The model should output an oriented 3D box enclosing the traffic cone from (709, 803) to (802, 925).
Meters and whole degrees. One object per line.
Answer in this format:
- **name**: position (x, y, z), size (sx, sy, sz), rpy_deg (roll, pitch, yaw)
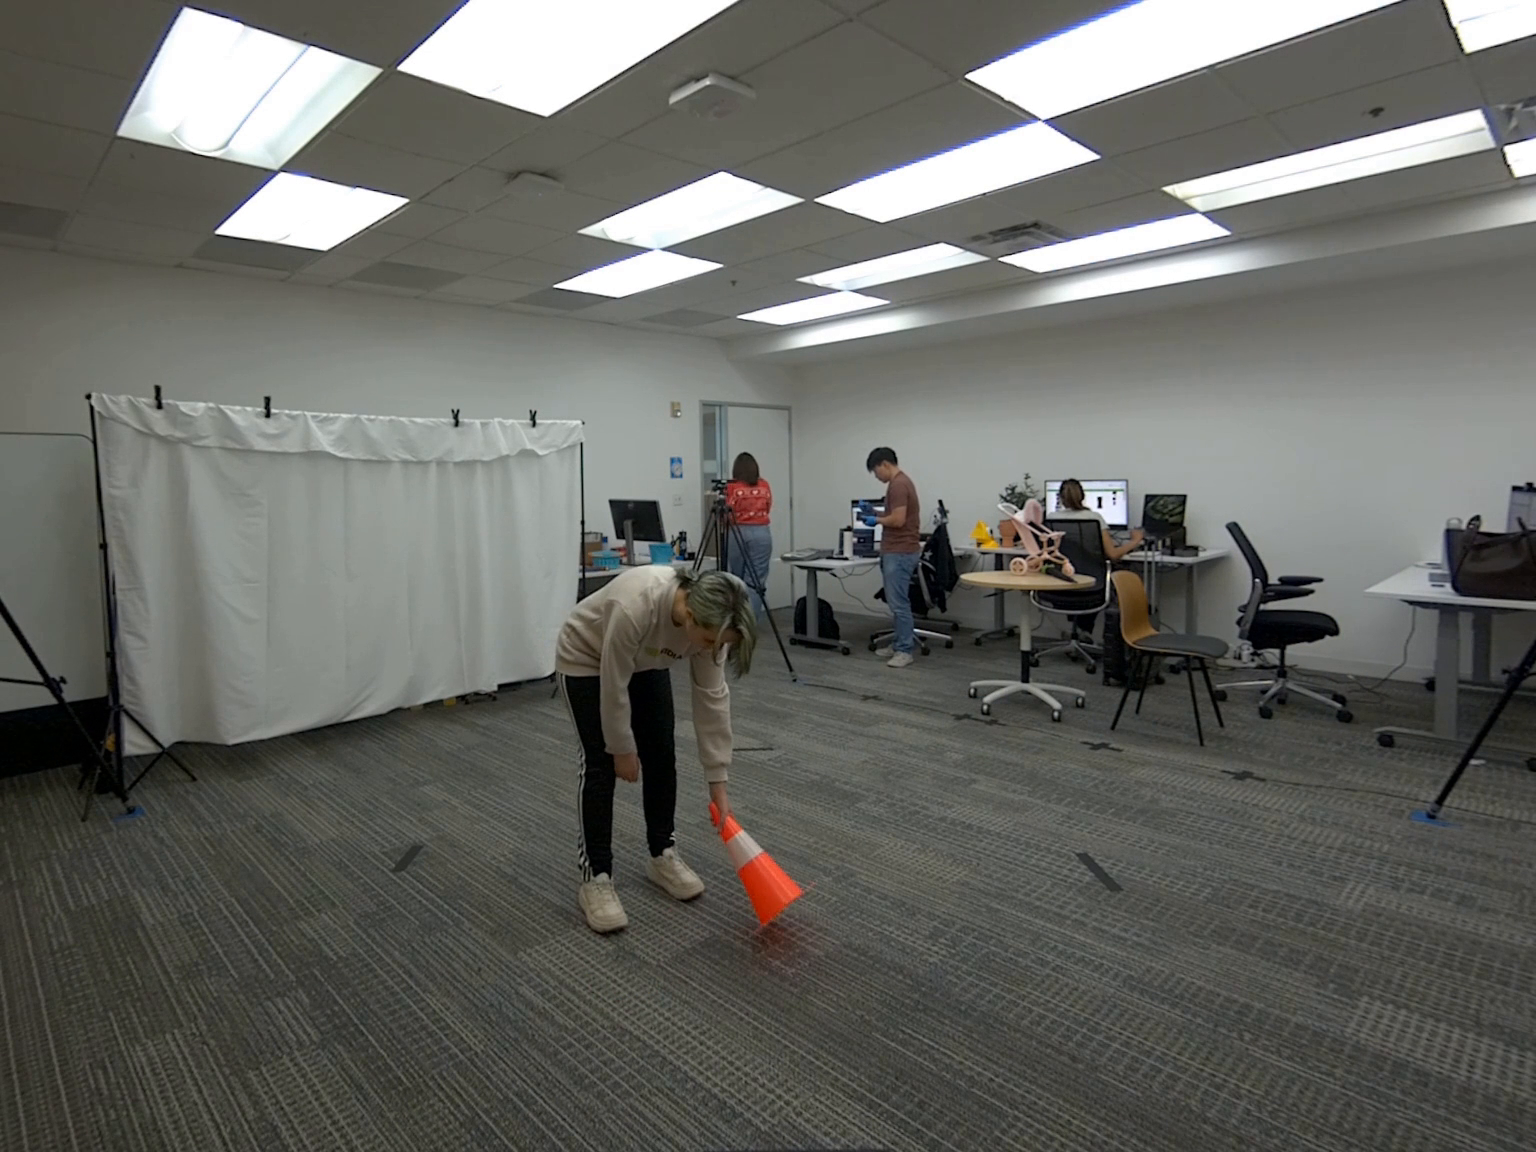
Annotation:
- **traffic cone**: position (-0.063, 0.874, 2.658), size (0.203, 0.393, 0.200), rpy_deg (-45, -20, 16)
